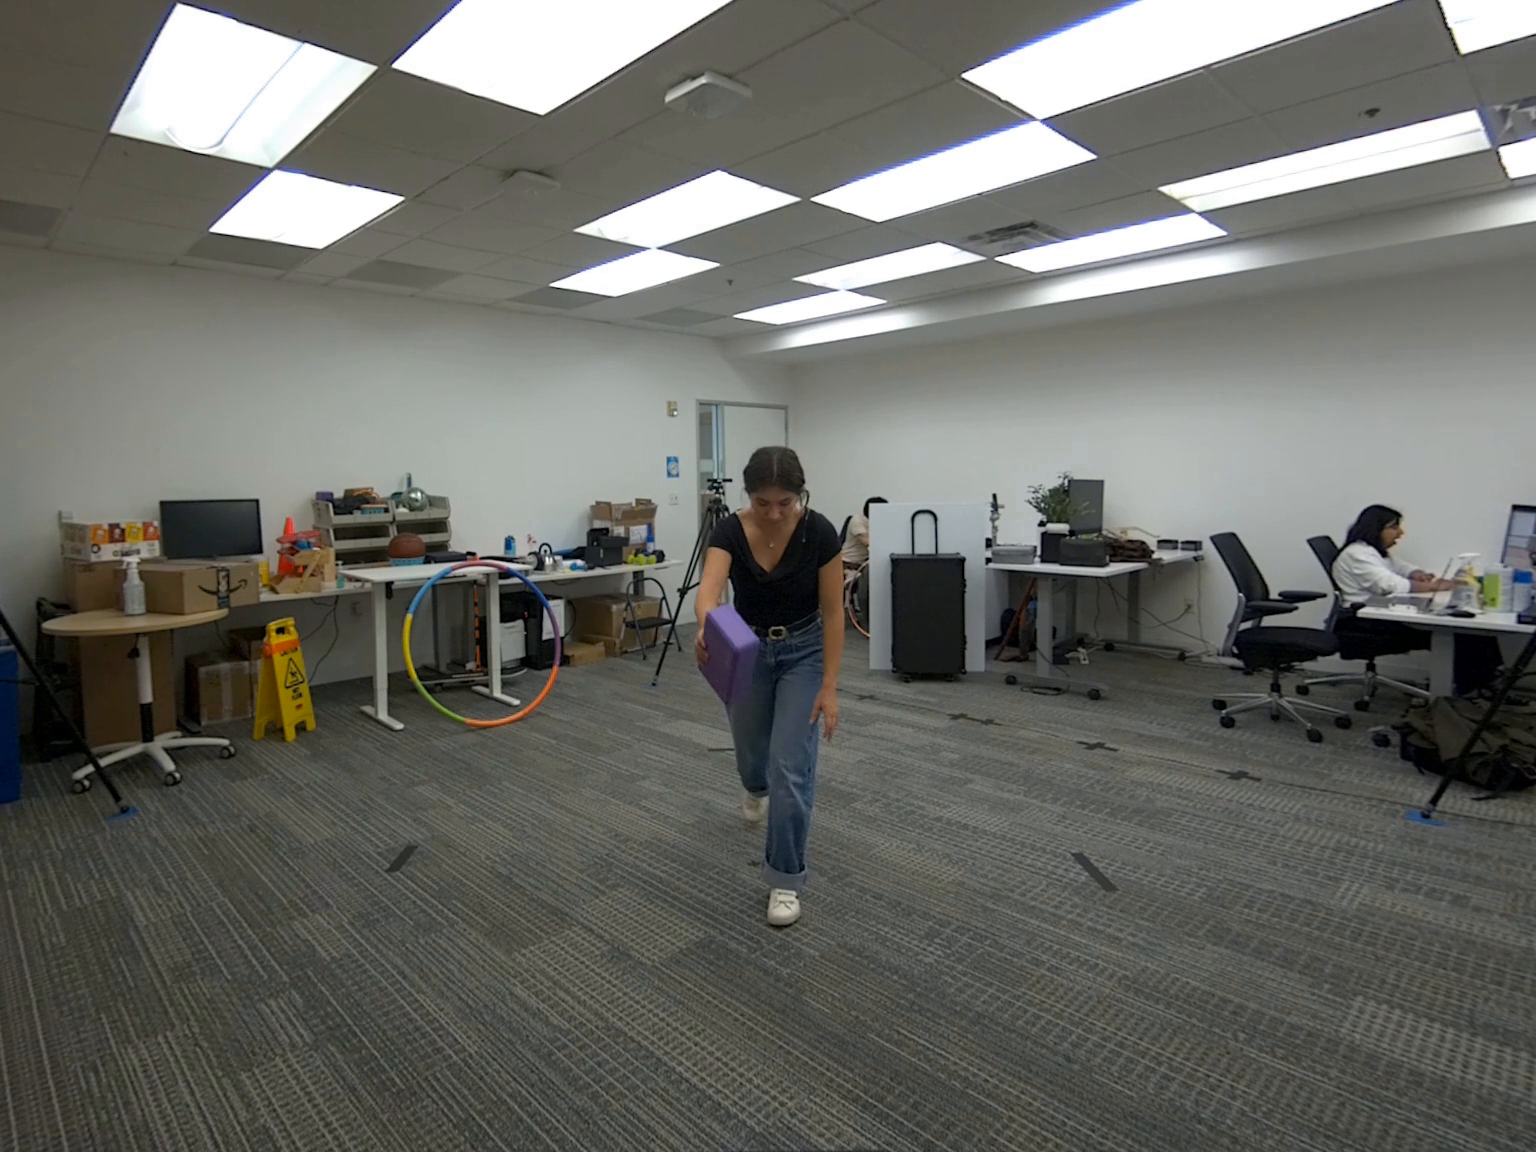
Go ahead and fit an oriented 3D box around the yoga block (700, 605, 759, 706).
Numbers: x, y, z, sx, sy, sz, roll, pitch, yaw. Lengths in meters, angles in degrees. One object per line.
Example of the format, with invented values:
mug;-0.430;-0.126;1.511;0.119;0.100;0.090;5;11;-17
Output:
yoga block;-0.097;0.197;2.215;0.075;0.224;0.154;-20;55;-26
